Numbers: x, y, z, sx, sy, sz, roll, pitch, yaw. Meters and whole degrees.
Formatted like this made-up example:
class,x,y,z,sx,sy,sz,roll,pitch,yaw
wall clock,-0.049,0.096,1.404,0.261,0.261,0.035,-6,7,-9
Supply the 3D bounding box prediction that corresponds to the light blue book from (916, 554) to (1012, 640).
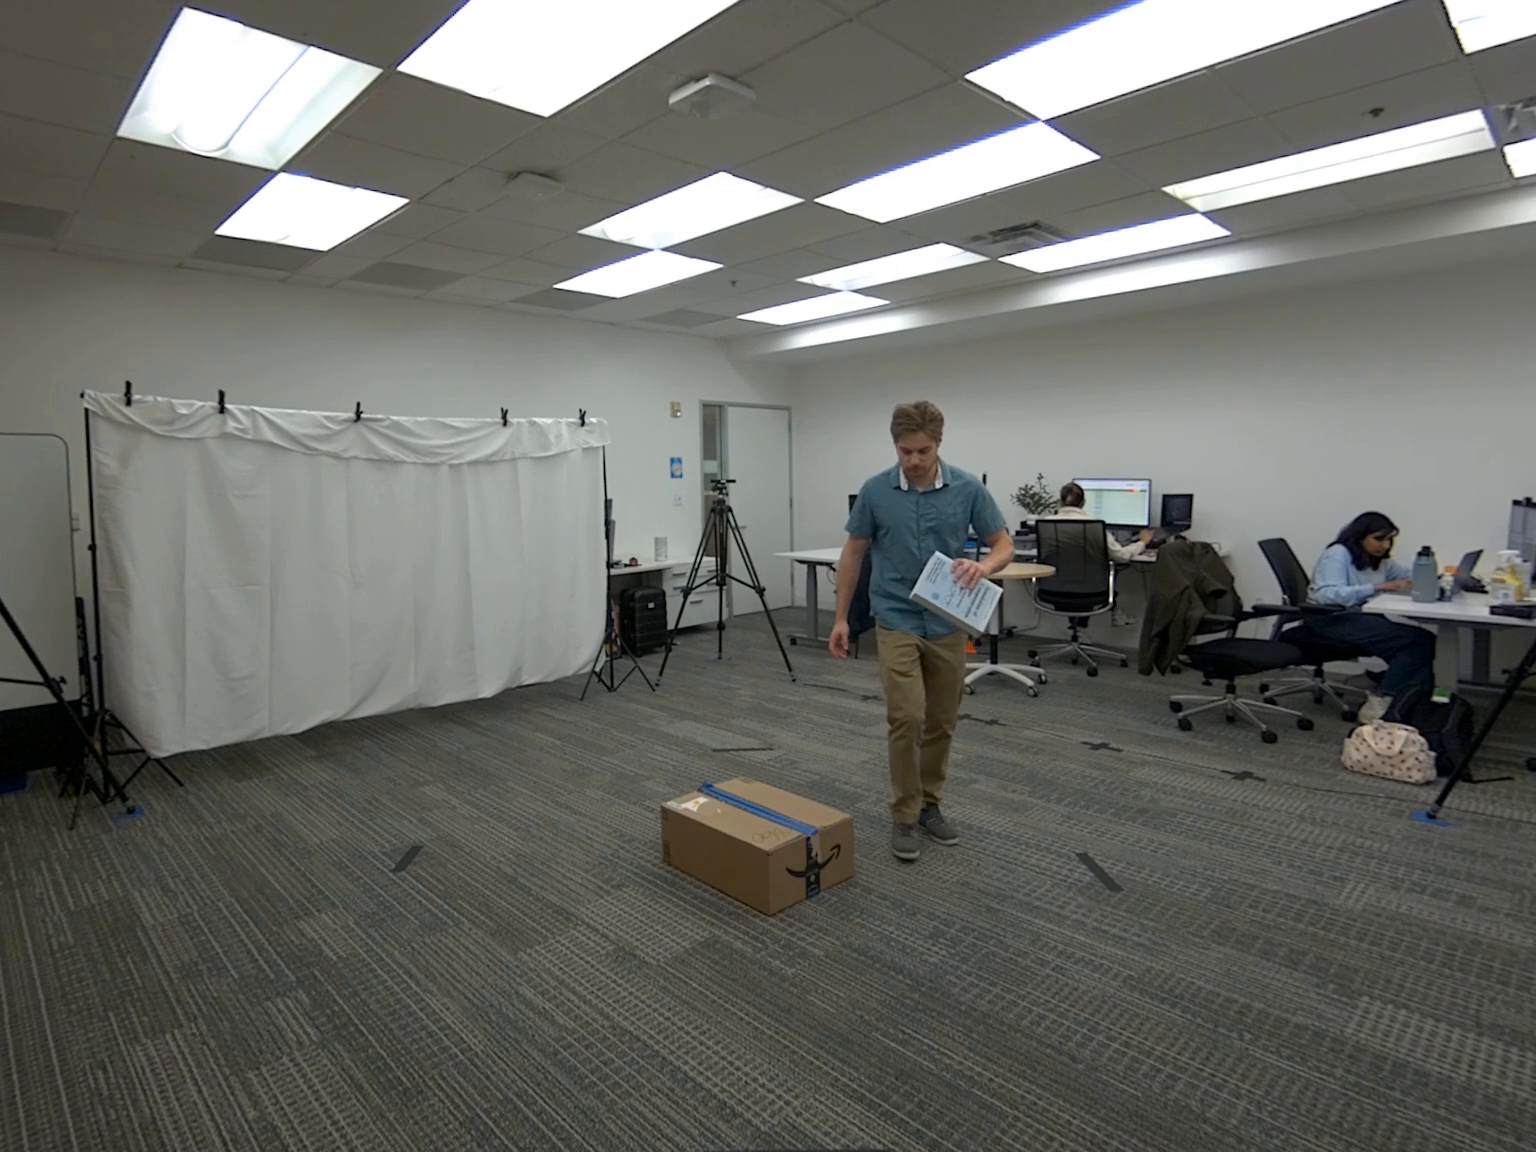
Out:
class,x,y,z,sx,sy,sz,roll,pitch,yaw
light blue book,0.672,0.062,2.950,0.263,0.192,0.058,30,-25,7
